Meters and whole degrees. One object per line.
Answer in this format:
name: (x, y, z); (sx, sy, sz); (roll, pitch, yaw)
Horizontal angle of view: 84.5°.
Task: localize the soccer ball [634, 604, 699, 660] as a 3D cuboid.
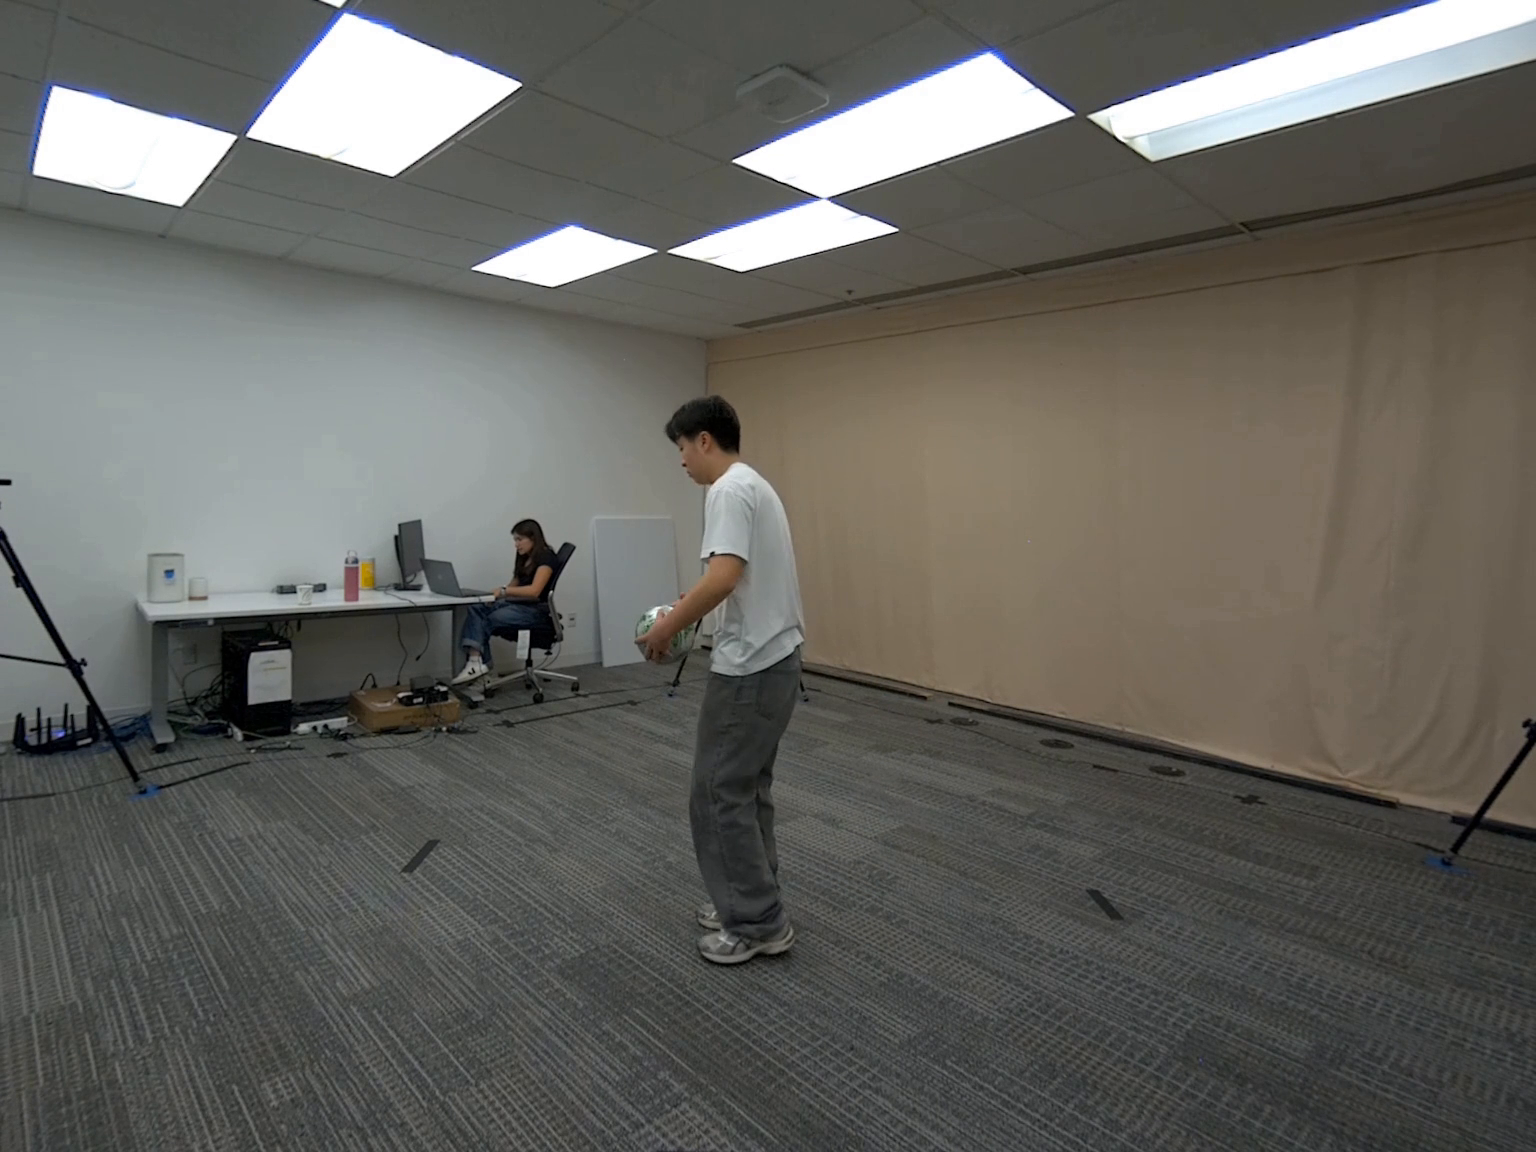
soccer ball: (-0.269, 0.215, 2.520); (0.187, 0.187, 0.188); (1, 4, -1)
